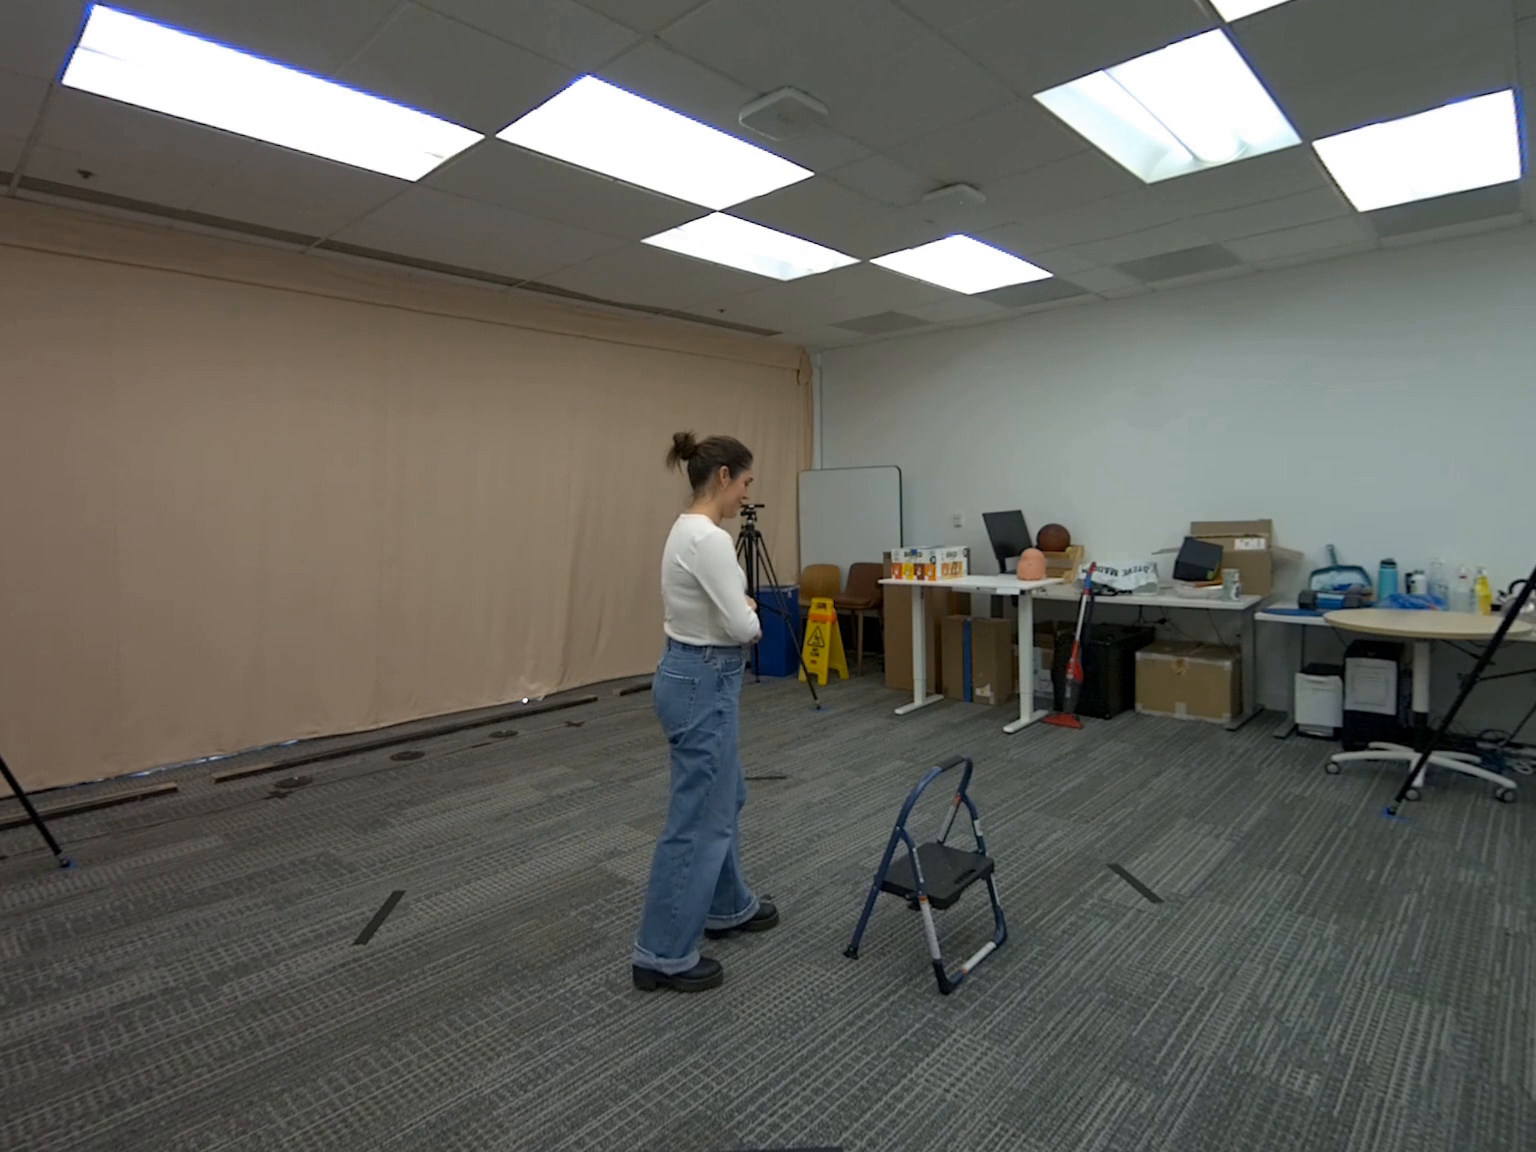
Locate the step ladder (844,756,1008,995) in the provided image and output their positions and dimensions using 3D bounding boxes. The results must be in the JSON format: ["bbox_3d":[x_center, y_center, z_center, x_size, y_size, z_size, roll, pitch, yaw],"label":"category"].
[{"bbox_3d":[0.502,0.861,2.614,0.361,0.604,0.418,3,5,40],"label":"step ladder"}]
